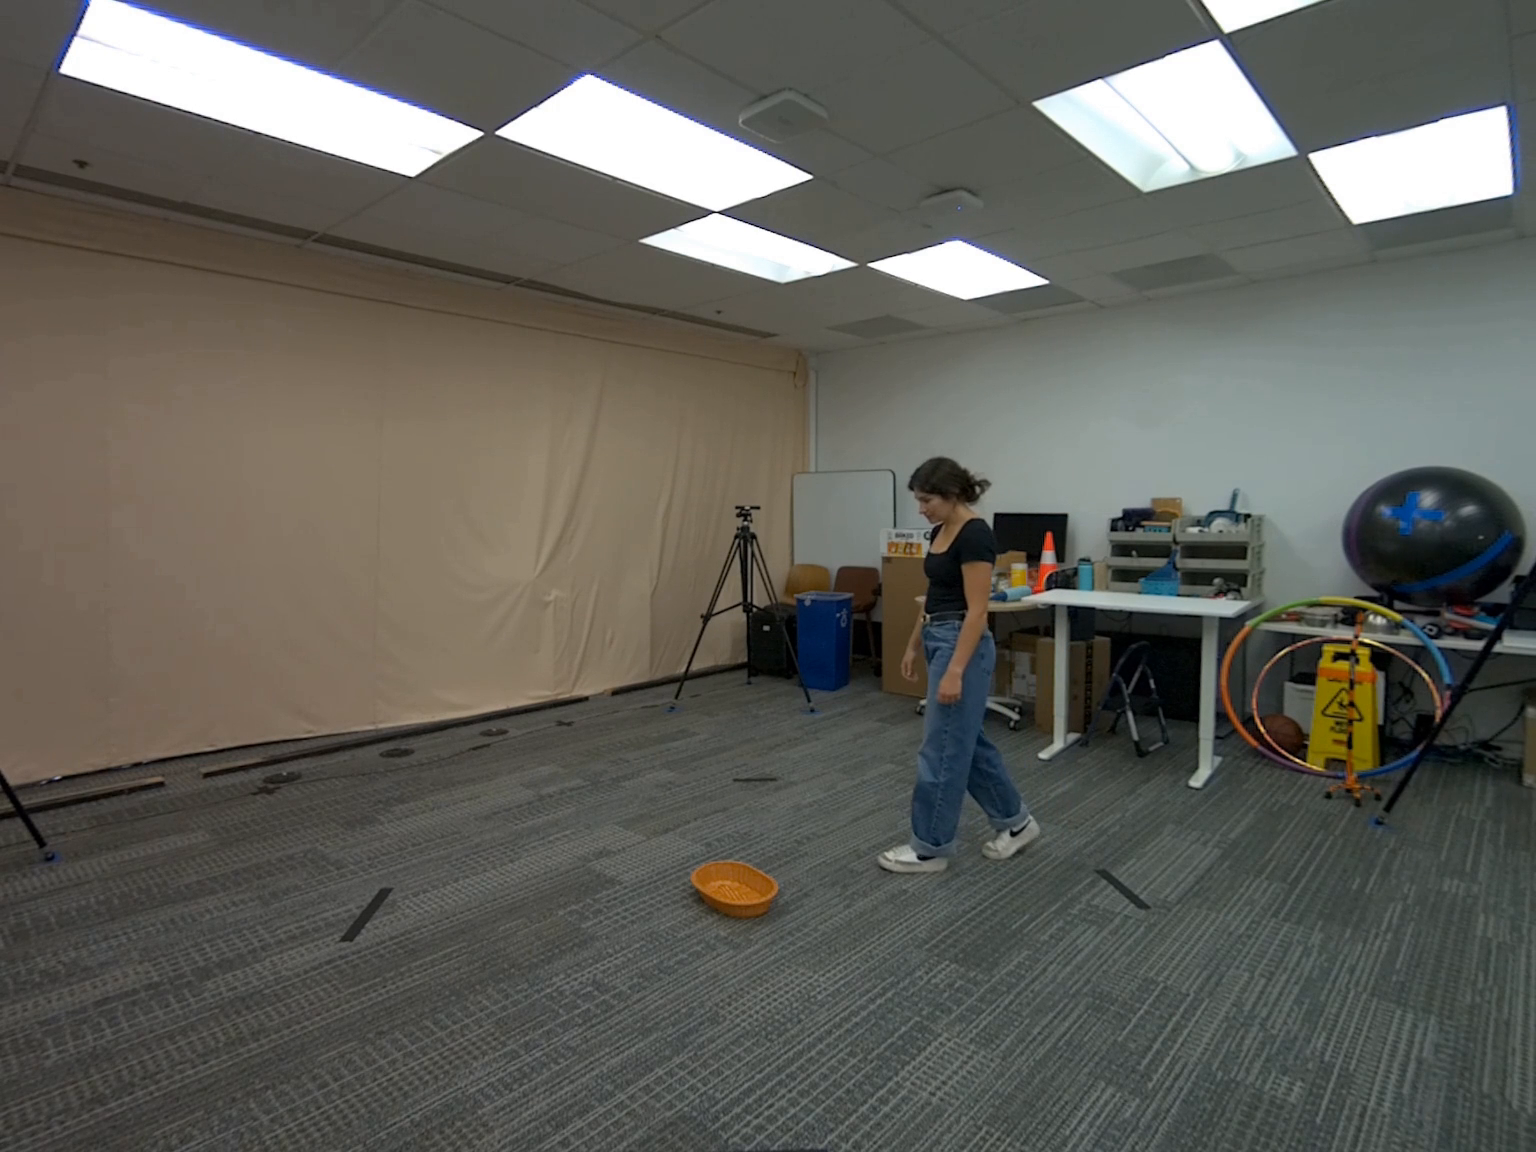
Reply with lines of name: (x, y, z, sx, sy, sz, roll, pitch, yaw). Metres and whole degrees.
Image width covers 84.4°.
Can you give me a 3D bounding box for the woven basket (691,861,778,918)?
woven basket: (-0.121, 1.107, 2.971, 0.245, 0.073, 0.361, -5, 7, -35)
